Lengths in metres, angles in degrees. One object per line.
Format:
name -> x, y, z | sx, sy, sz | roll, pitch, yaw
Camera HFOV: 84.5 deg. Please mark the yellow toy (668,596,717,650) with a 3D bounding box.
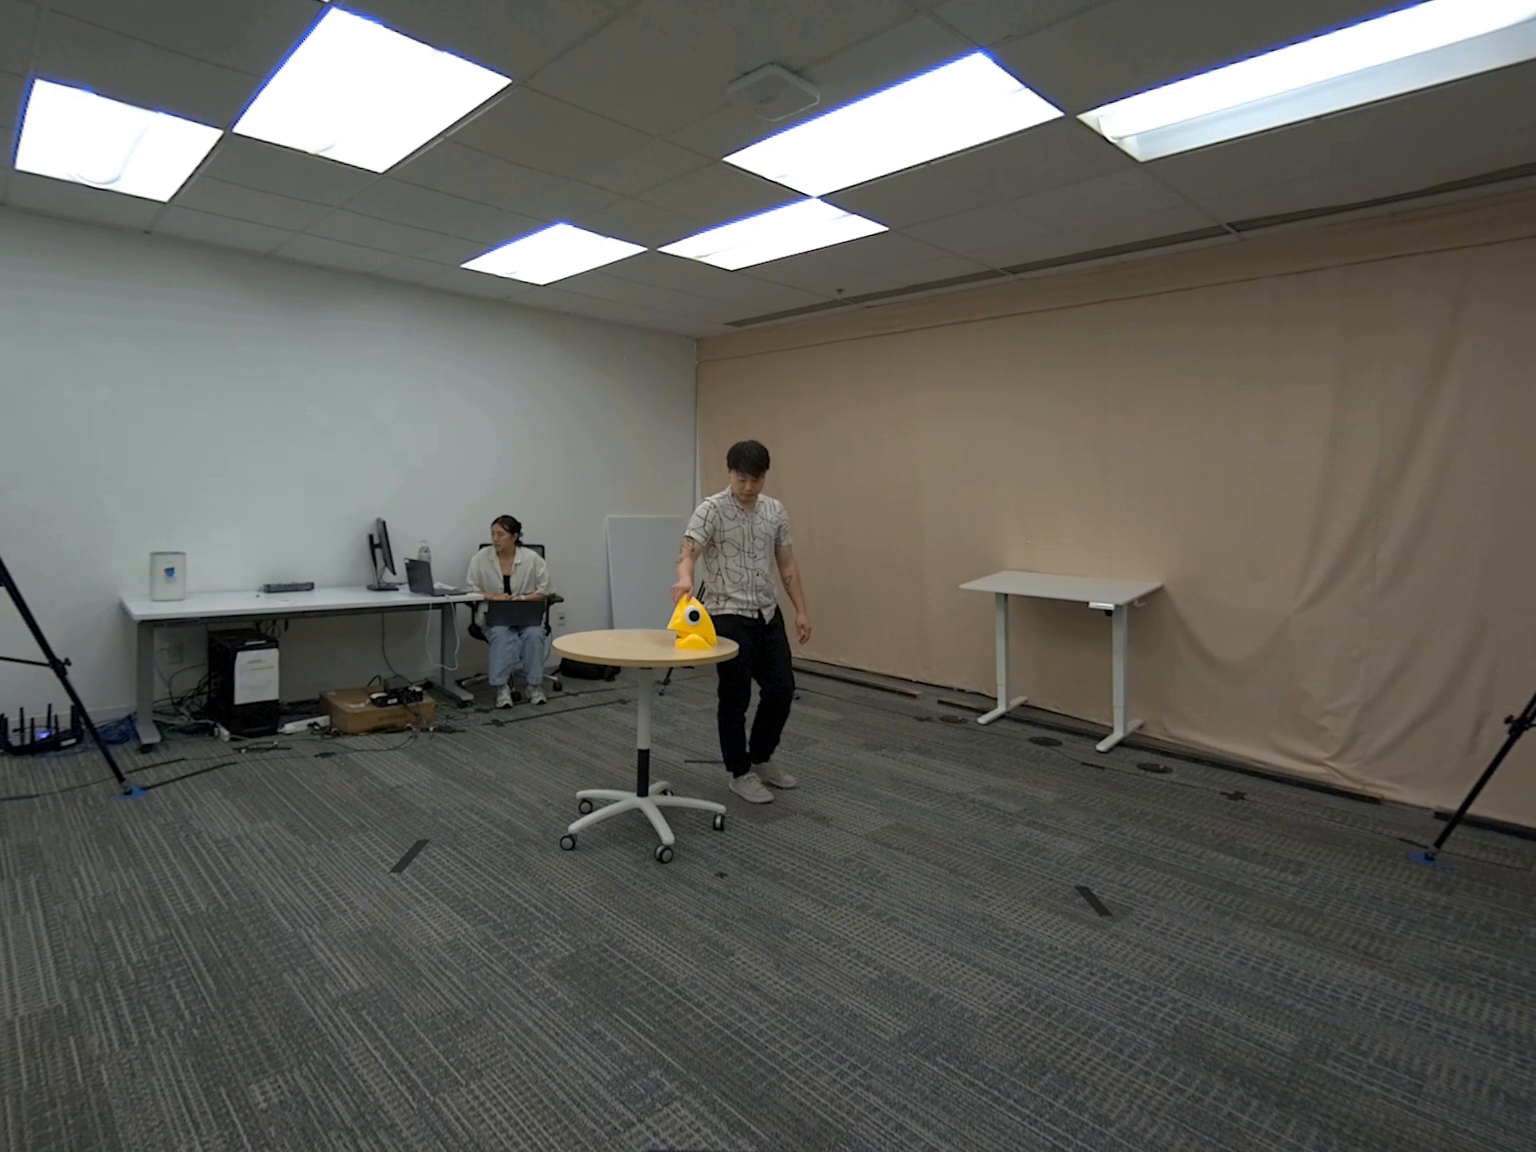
yellow toy -> -0.317, 0.174, 3.473 | 0.194, 0.230, 0.204 | 2, 3, 8
